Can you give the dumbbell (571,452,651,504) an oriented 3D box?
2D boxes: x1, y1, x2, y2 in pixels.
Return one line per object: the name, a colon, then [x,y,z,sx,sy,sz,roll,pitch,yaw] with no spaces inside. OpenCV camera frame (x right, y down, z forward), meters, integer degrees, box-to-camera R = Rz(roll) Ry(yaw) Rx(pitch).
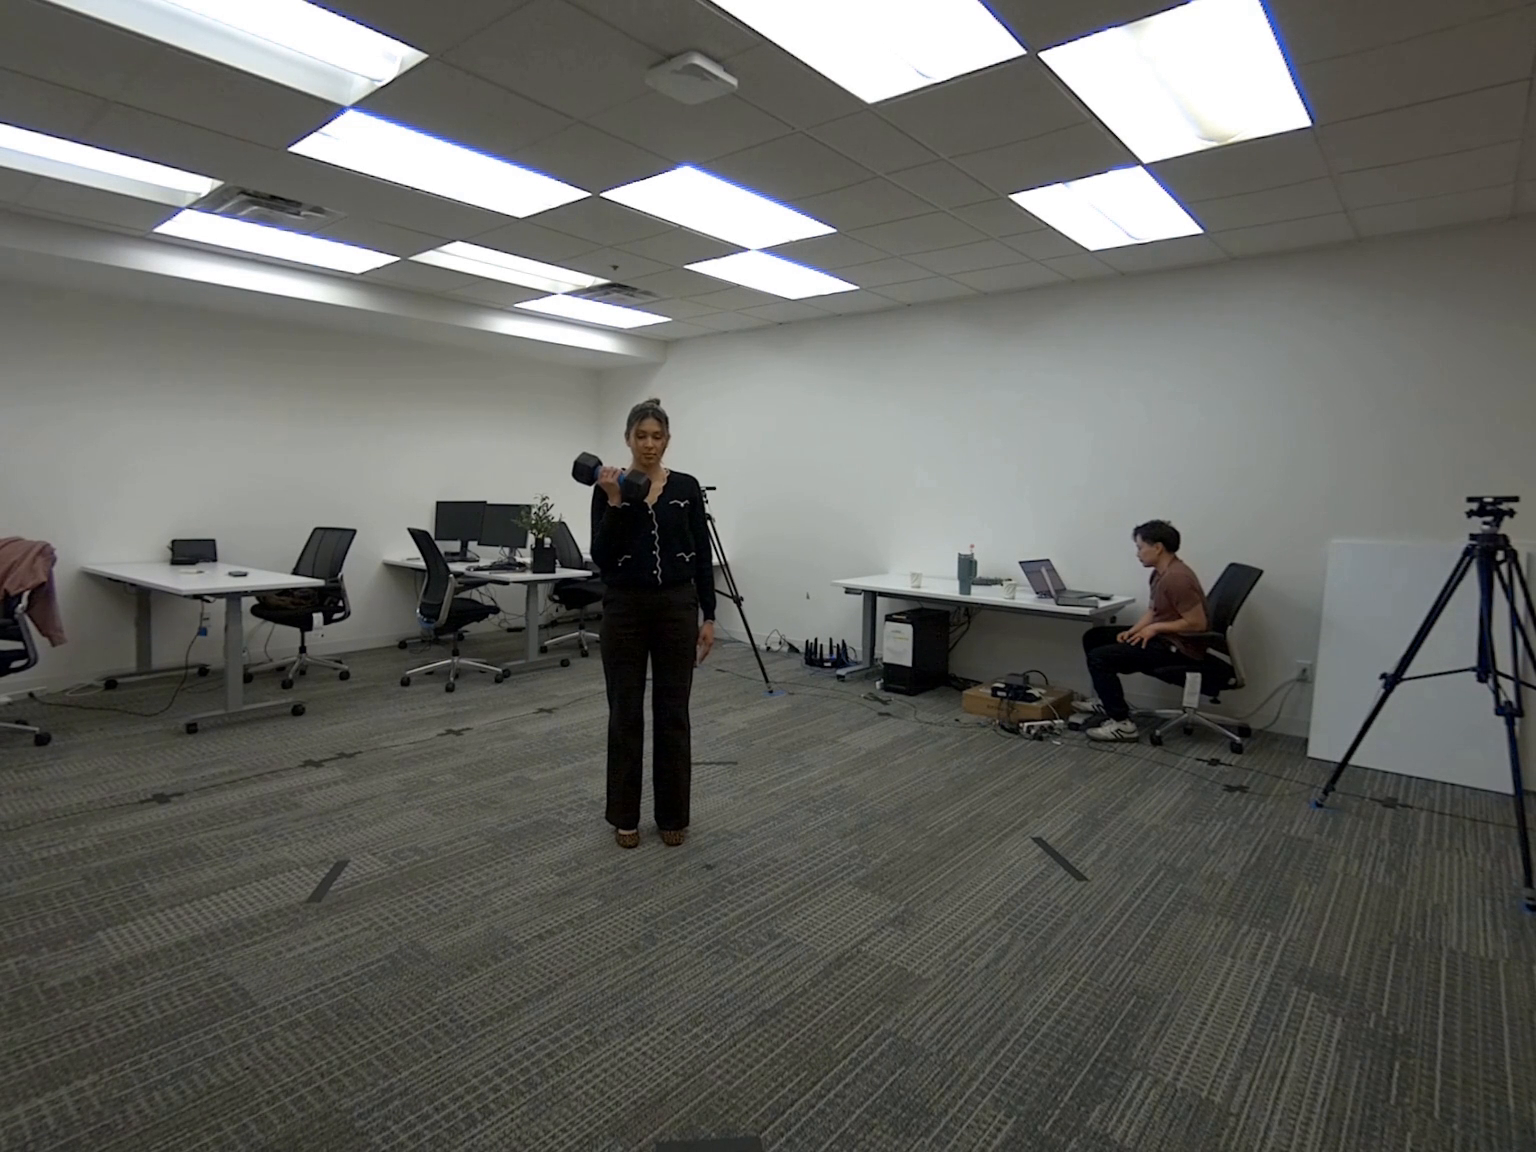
dumbbell: [-0.606,-0.374,3.195,0.300,0.109,0.120,21,-9,15]
